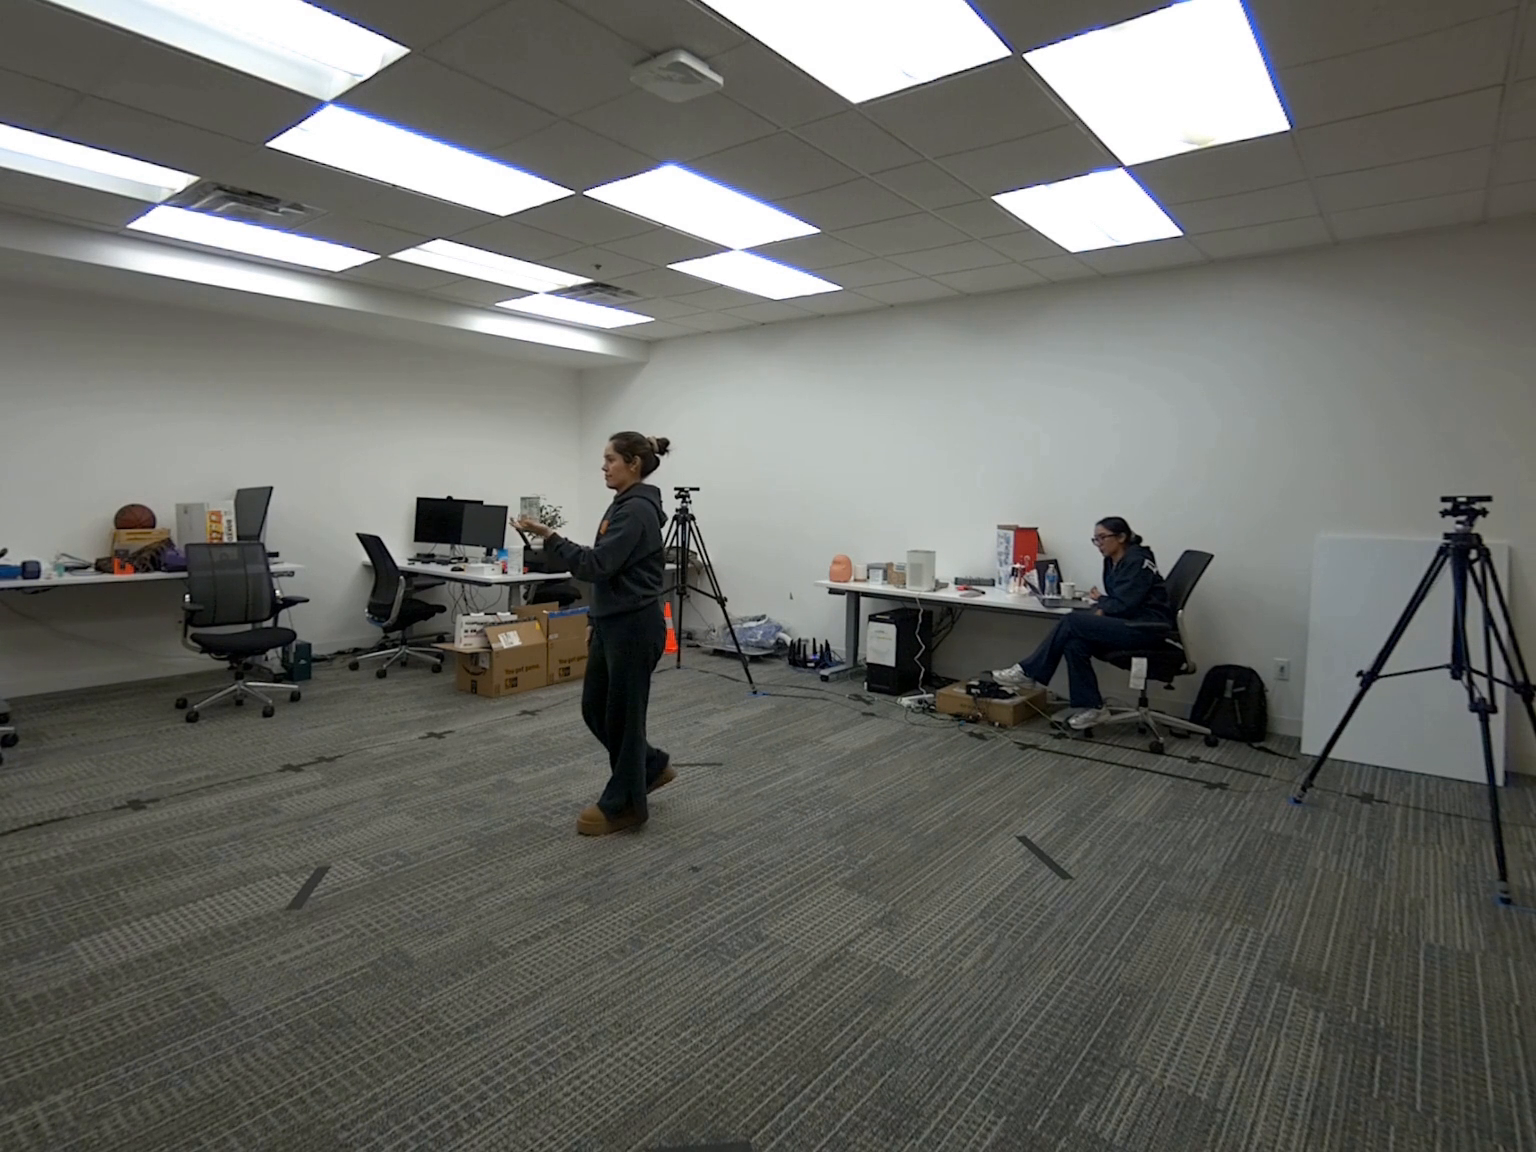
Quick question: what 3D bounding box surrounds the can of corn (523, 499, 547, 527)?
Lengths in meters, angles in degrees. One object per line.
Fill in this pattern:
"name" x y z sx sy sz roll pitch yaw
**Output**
"can of corn" -0.903 -0.239 3.251 0.074 0.111 0.074 -1 1 -2
